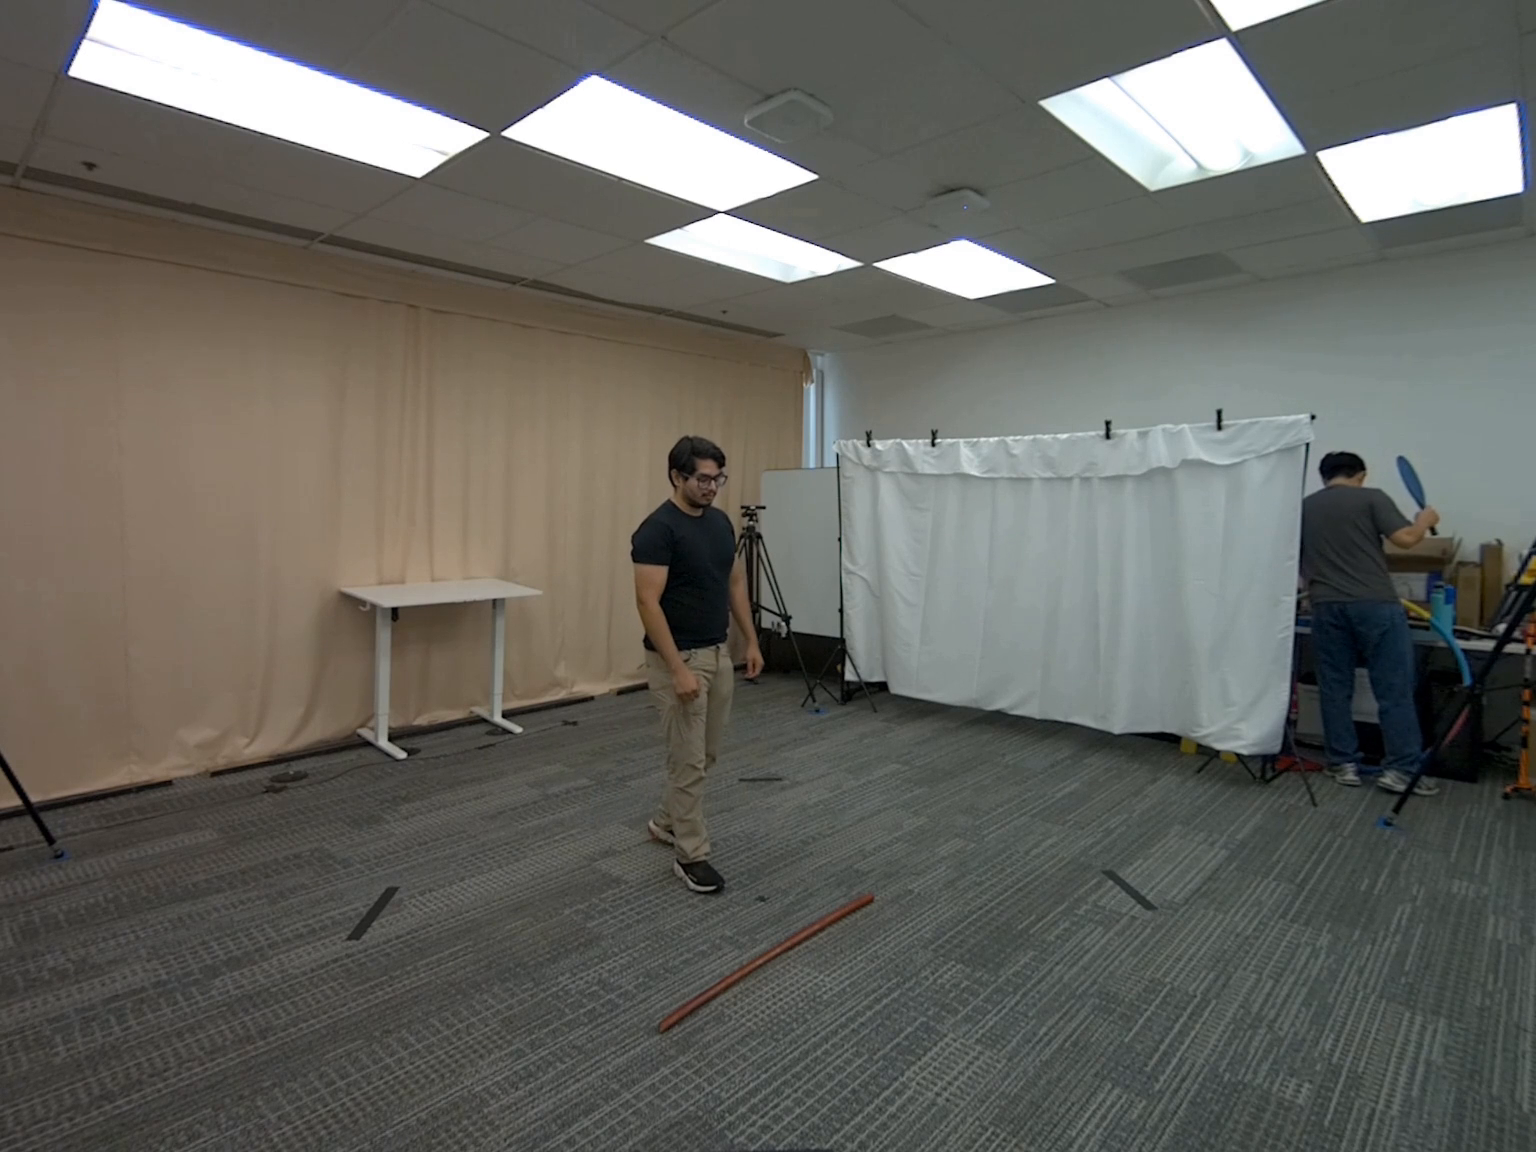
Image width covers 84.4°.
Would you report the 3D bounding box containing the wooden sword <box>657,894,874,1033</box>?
[{"bbox_3d":[0.030,1.152,2.611,0.053,0.024,0.993,26,20,38],"label":"wooden sword"}]
